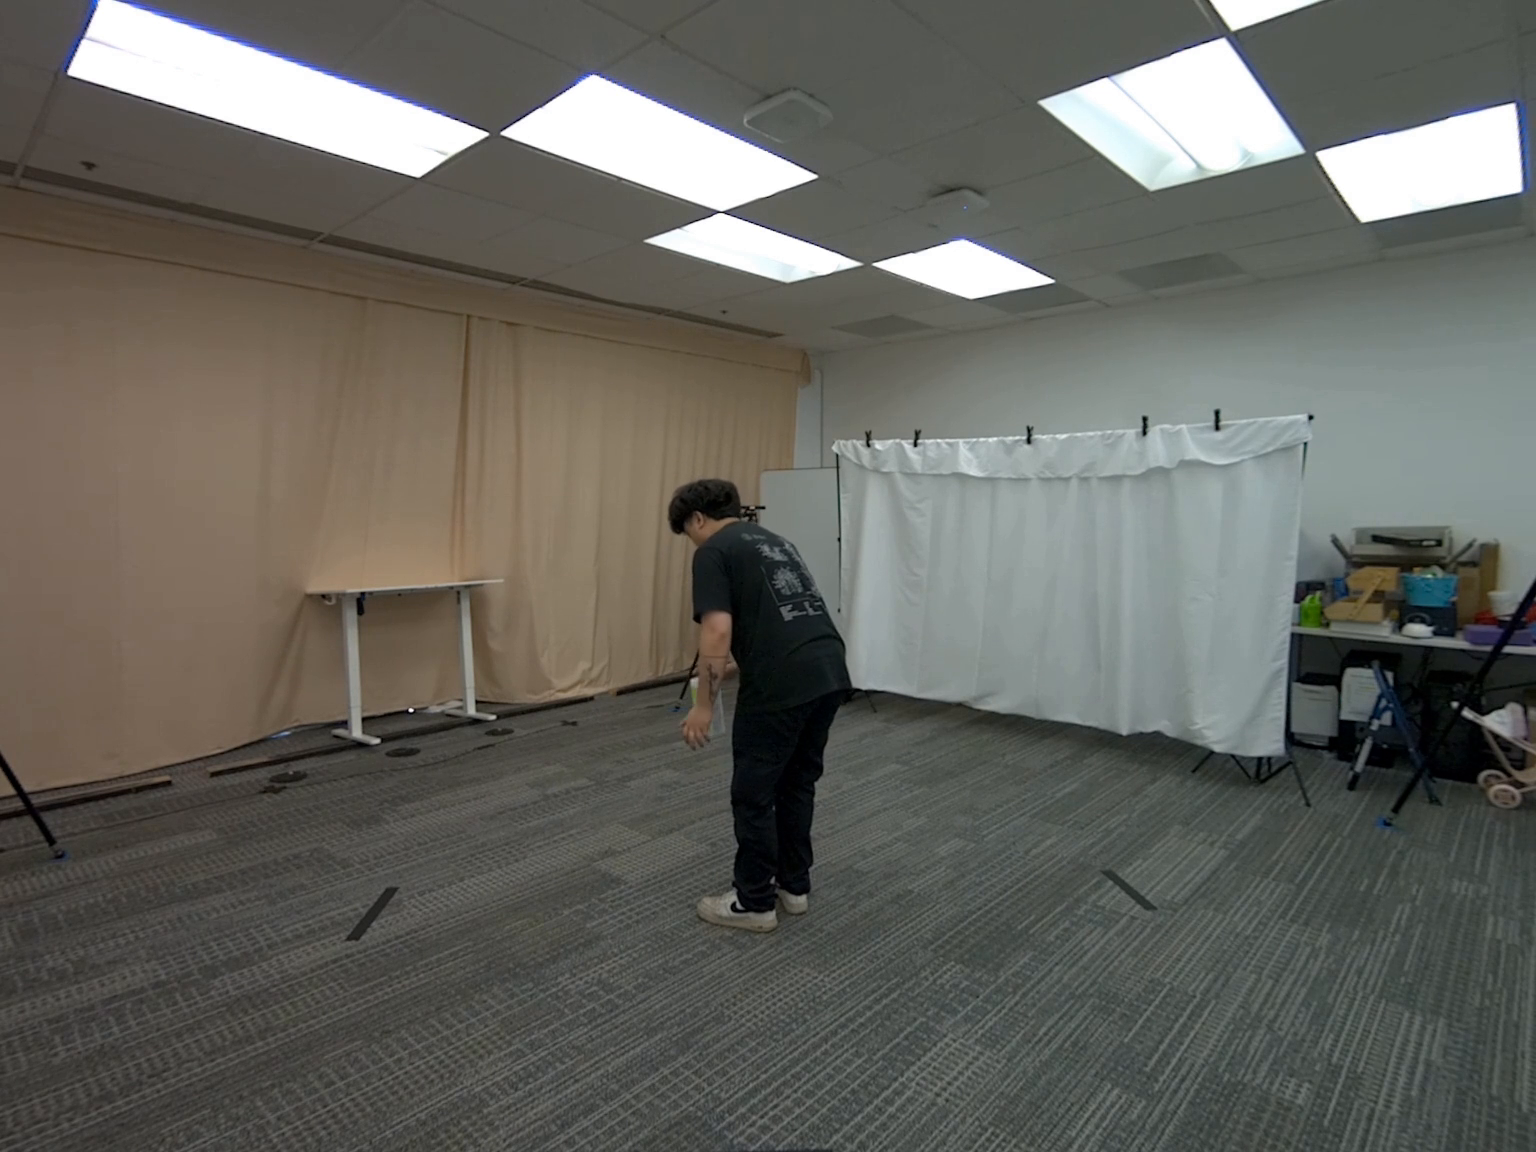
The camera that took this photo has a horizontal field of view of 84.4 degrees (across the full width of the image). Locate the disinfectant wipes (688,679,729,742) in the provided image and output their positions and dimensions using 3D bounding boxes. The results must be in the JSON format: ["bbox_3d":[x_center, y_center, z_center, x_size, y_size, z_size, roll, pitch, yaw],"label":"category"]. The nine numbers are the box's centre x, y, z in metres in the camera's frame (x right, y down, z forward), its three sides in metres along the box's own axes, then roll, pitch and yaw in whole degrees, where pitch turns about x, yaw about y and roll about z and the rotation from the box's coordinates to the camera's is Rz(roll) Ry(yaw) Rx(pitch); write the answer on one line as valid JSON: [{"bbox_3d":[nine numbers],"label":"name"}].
[{"bbox_3d":[-0.222,0.491,3.144,0.117,0.218,0.117,-8,-3,-2],"label":"disinfectant wipes"}]
